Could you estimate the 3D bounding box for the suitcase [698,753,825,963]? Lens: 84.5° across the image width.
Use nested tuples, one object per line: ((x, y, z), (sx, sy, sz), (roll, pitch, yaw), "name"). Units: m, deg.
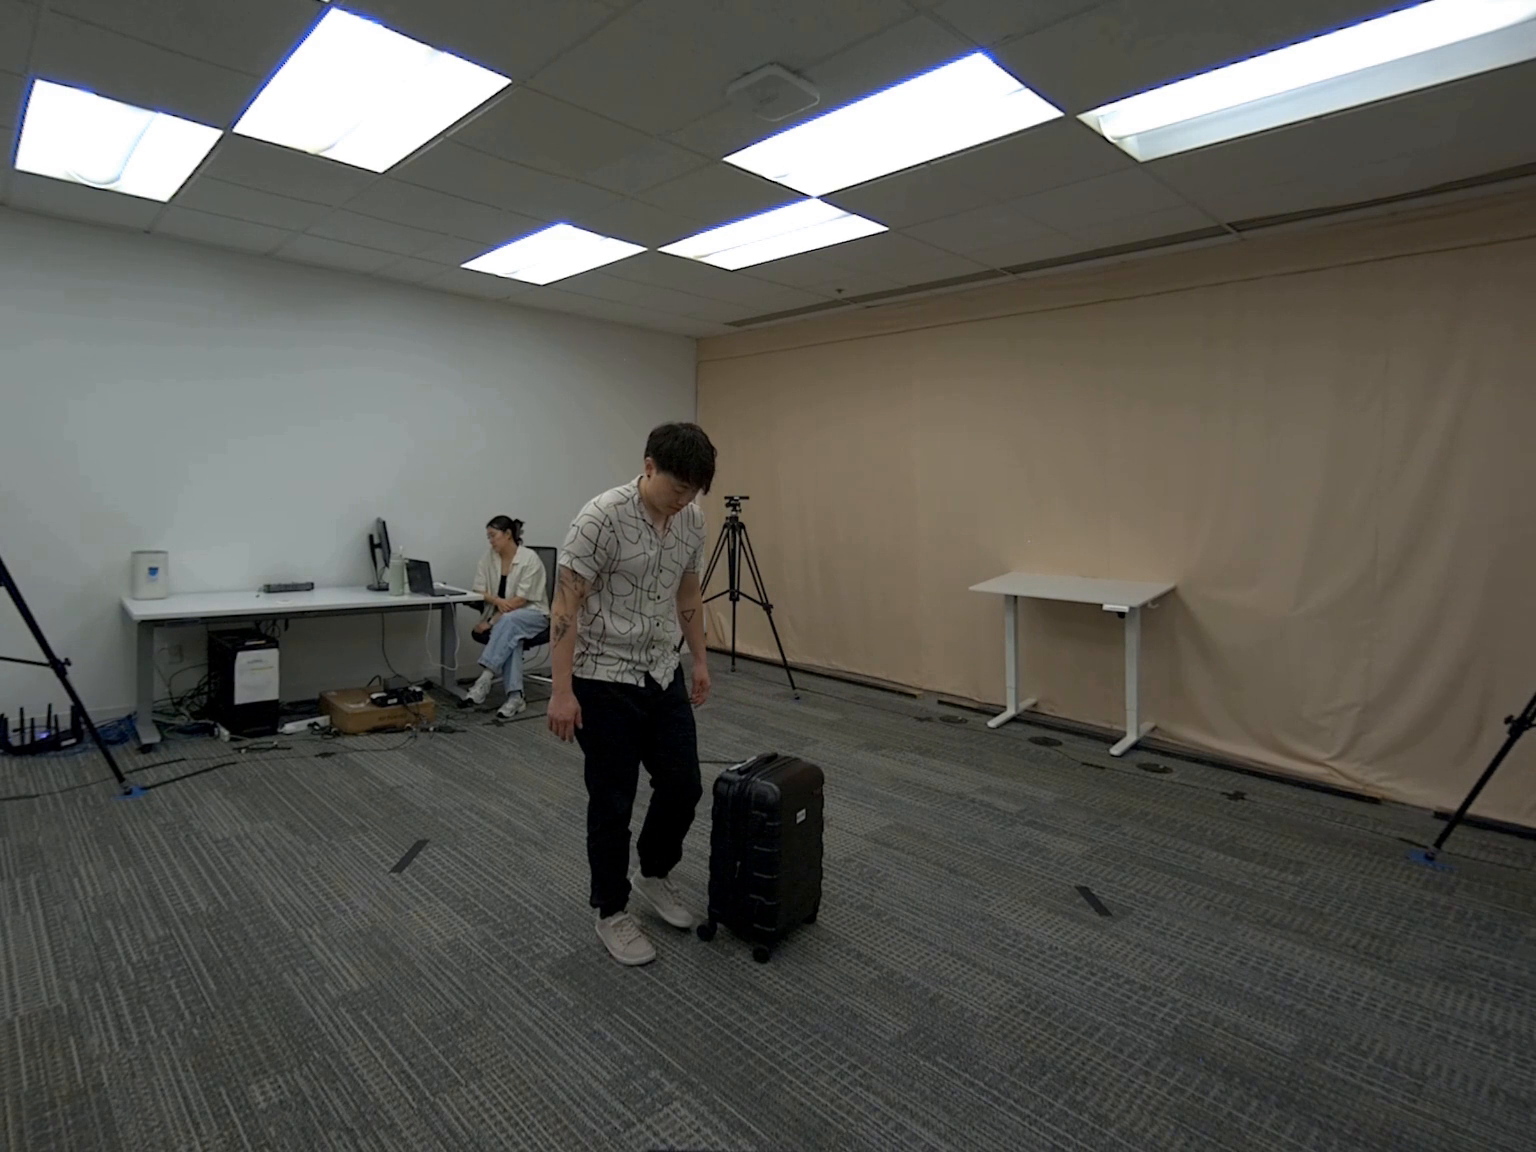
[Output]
((-0.010, 0.867, 2.700), (0.254, 0.548, 0.367), (6, 5, 34), "suitcase")
